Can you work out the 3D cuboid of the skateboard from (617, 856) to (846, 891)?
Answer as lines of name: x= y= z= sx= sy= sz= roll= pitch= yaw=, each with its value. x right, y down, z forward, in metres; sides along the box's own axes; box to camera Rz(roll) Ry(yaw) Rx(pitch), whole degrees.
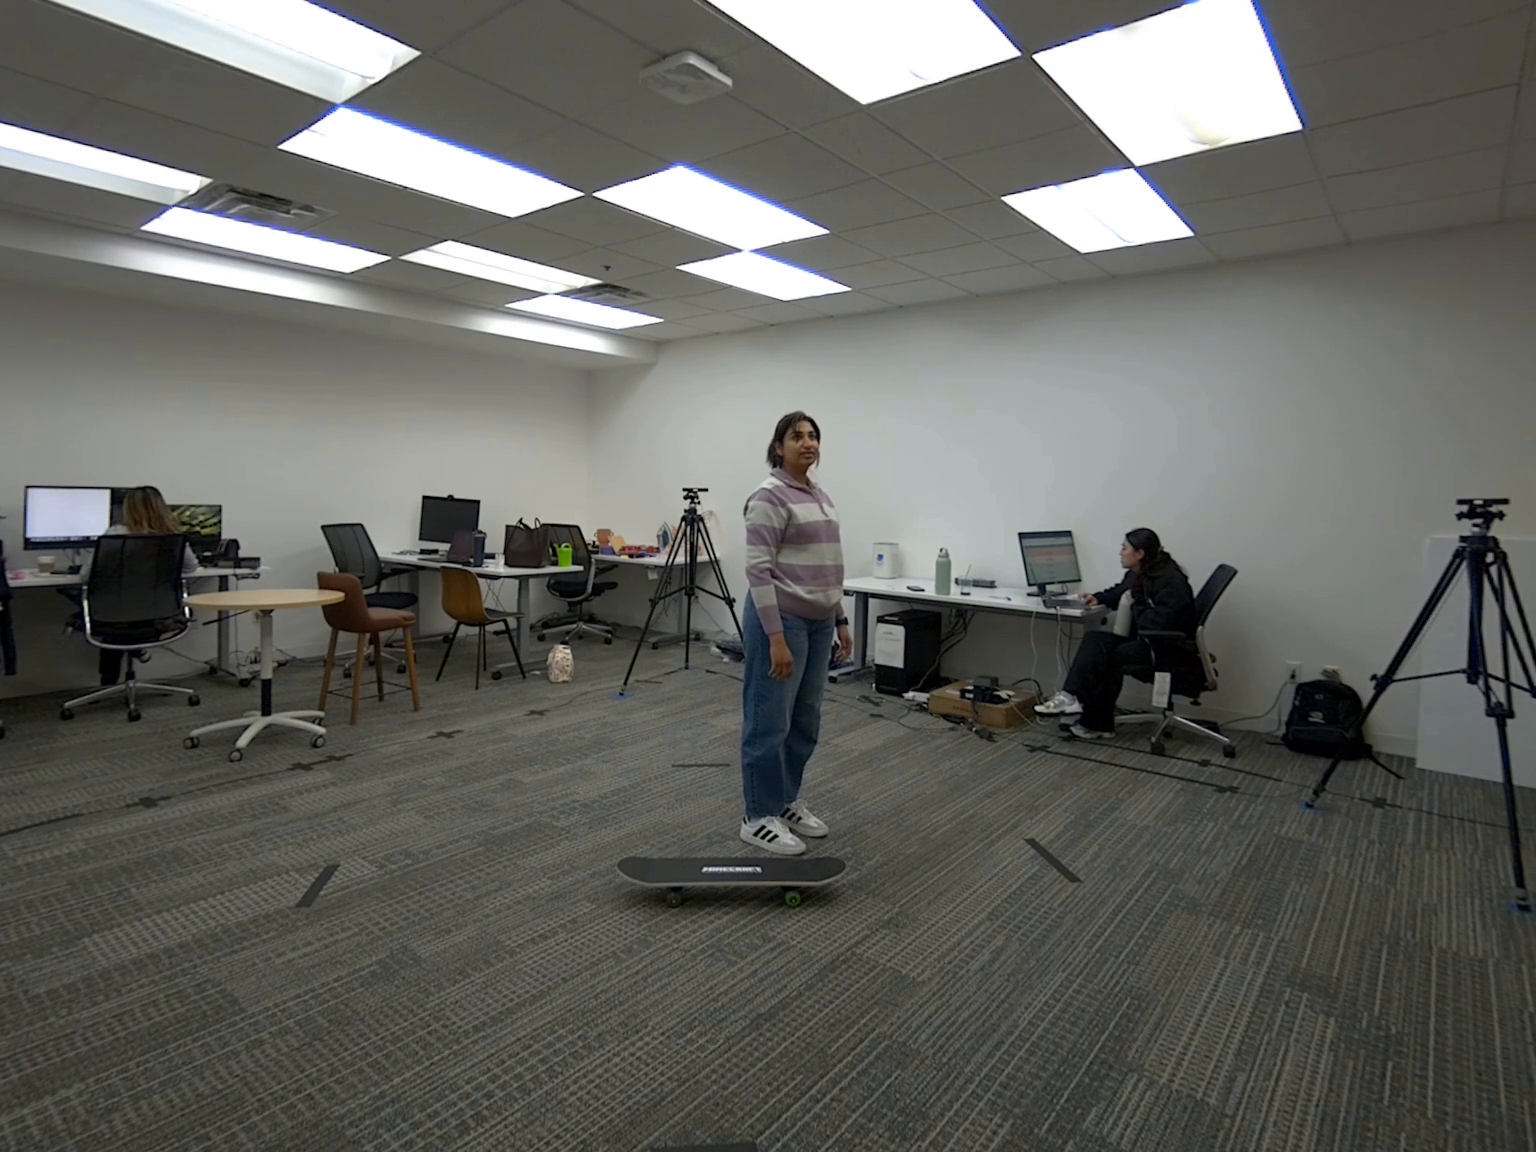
skateboard: x=-0.139 y=1.036 z=2.913 sx=0.782 sy=0.110 sz=0.195 roll=1 pitch=4 yaw=-3
